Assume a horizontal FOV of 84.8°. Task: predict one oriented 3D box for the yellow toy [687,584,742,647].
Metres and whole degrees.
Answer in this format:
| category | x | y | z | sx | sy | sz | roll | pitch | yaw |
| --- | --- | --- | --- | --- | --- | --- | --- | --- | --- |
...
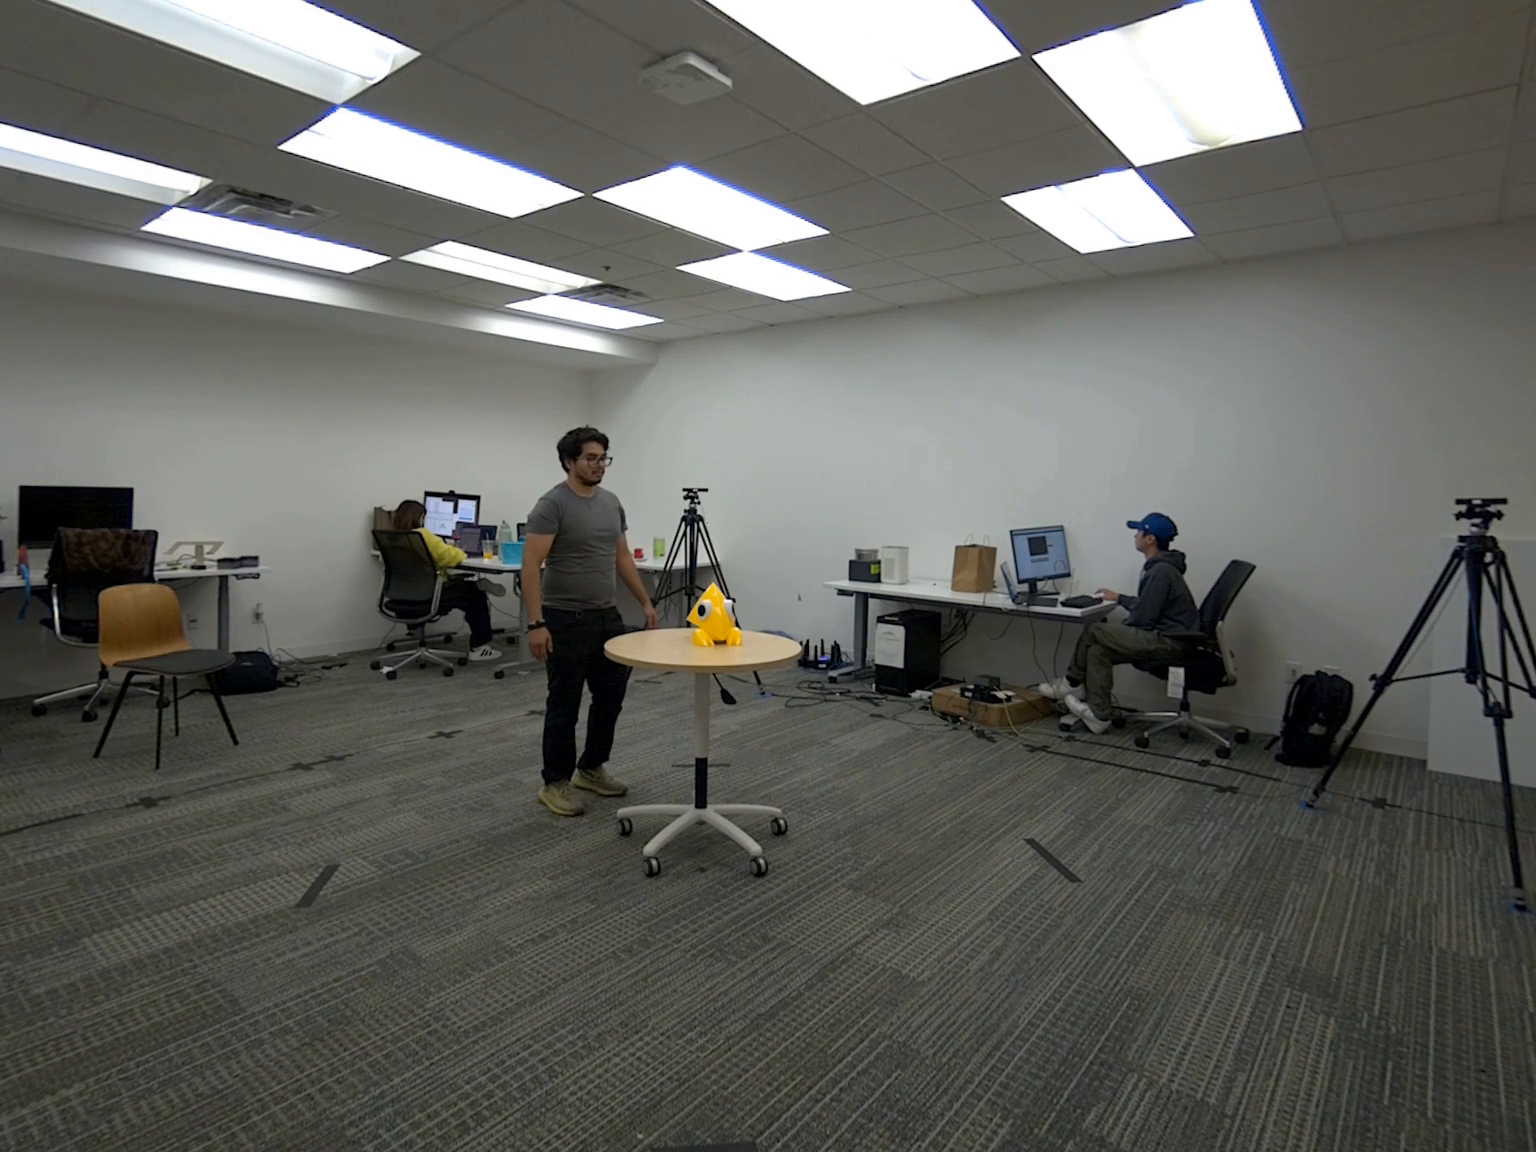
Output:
| category | x | y | z | sx | sy | sz | roll | pitch | yaw |
| --- | --- | --- | --- | --- | --- | --- | --- | --- | --- |
| yellow toy | -0.215 | 0.145 | 3.375 | 0.201 | 0.230 | 0.197 | 0 | 4 | -18 |
